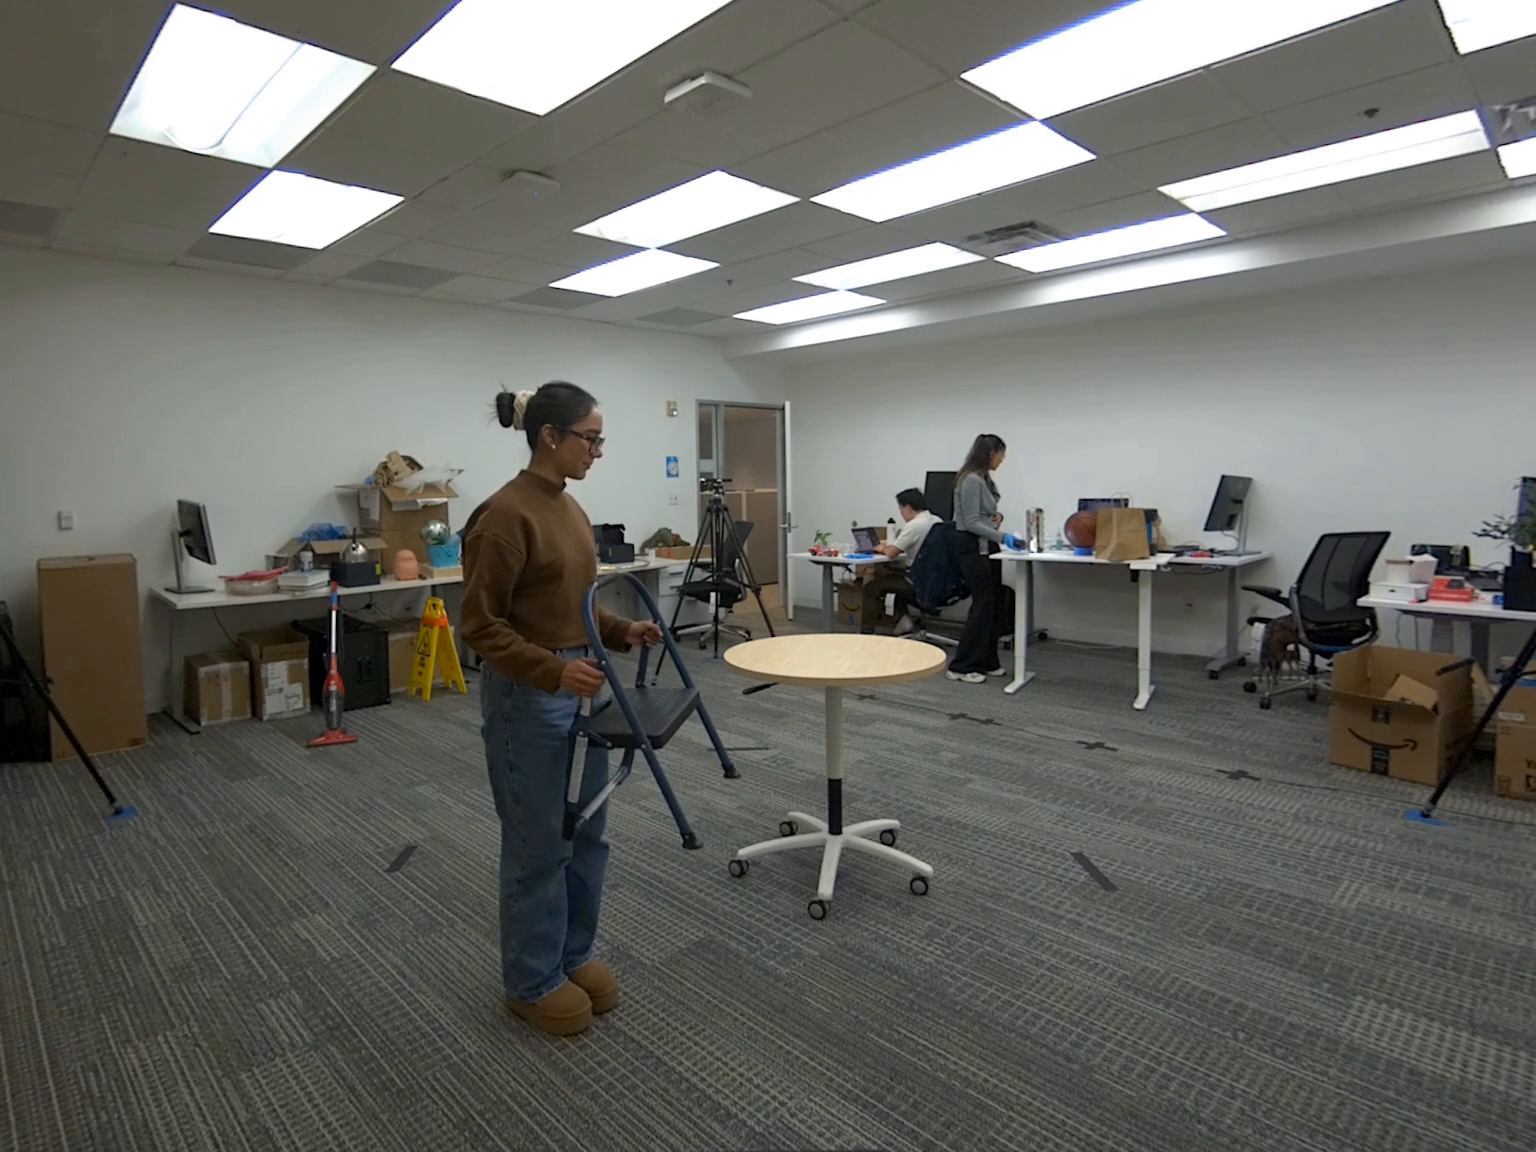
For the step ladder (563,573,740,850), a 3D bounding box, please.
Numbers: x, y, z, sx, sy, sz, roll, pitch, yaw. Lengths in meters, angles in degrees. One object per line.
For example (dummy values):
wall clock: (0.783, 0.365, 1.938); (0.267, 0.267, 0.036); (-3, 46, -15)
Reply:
step ladder: (-0.308, 0.299, 2.165); (0.353, 0.601, 0.429); (-5, 8, 12)
